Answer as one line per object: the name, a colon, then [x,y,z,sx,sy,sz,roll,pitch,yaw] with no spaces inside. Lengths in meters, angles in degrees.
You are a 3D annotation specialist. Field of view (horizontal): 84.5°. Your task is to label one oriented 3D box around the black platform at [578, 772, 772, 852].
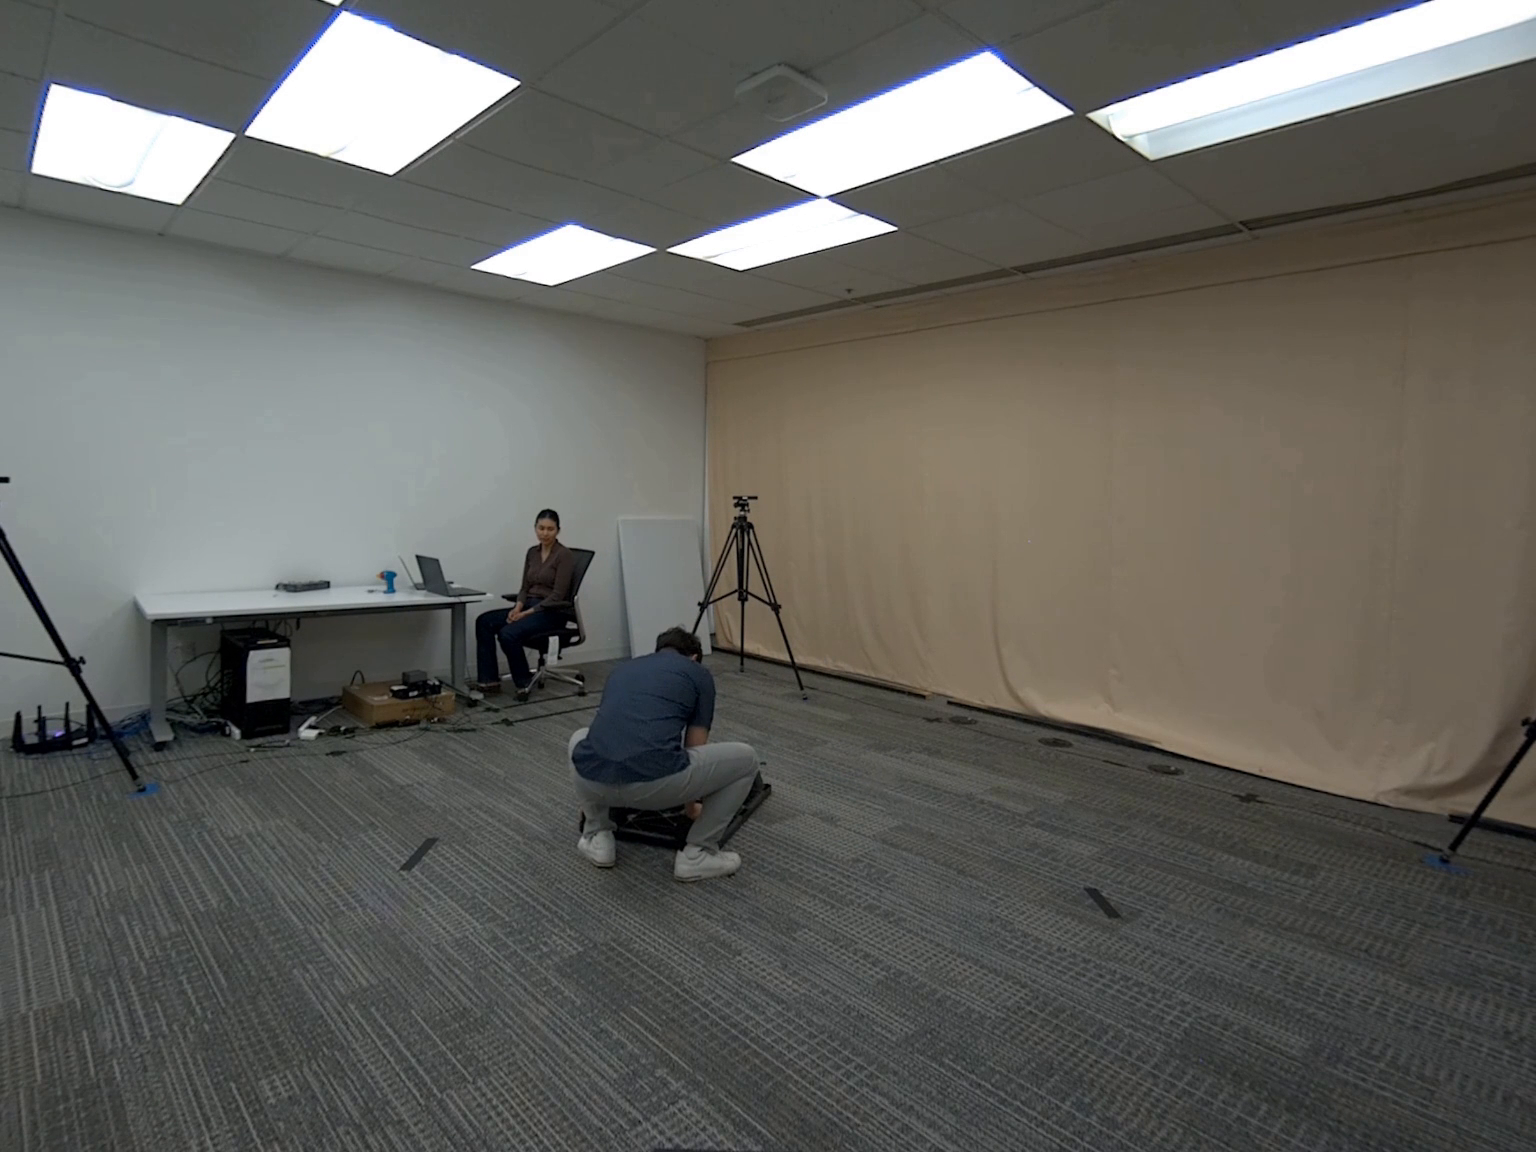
black platform: [-0.389,0.979,3.734,0.614,0.143,0.796,4,5,17]
